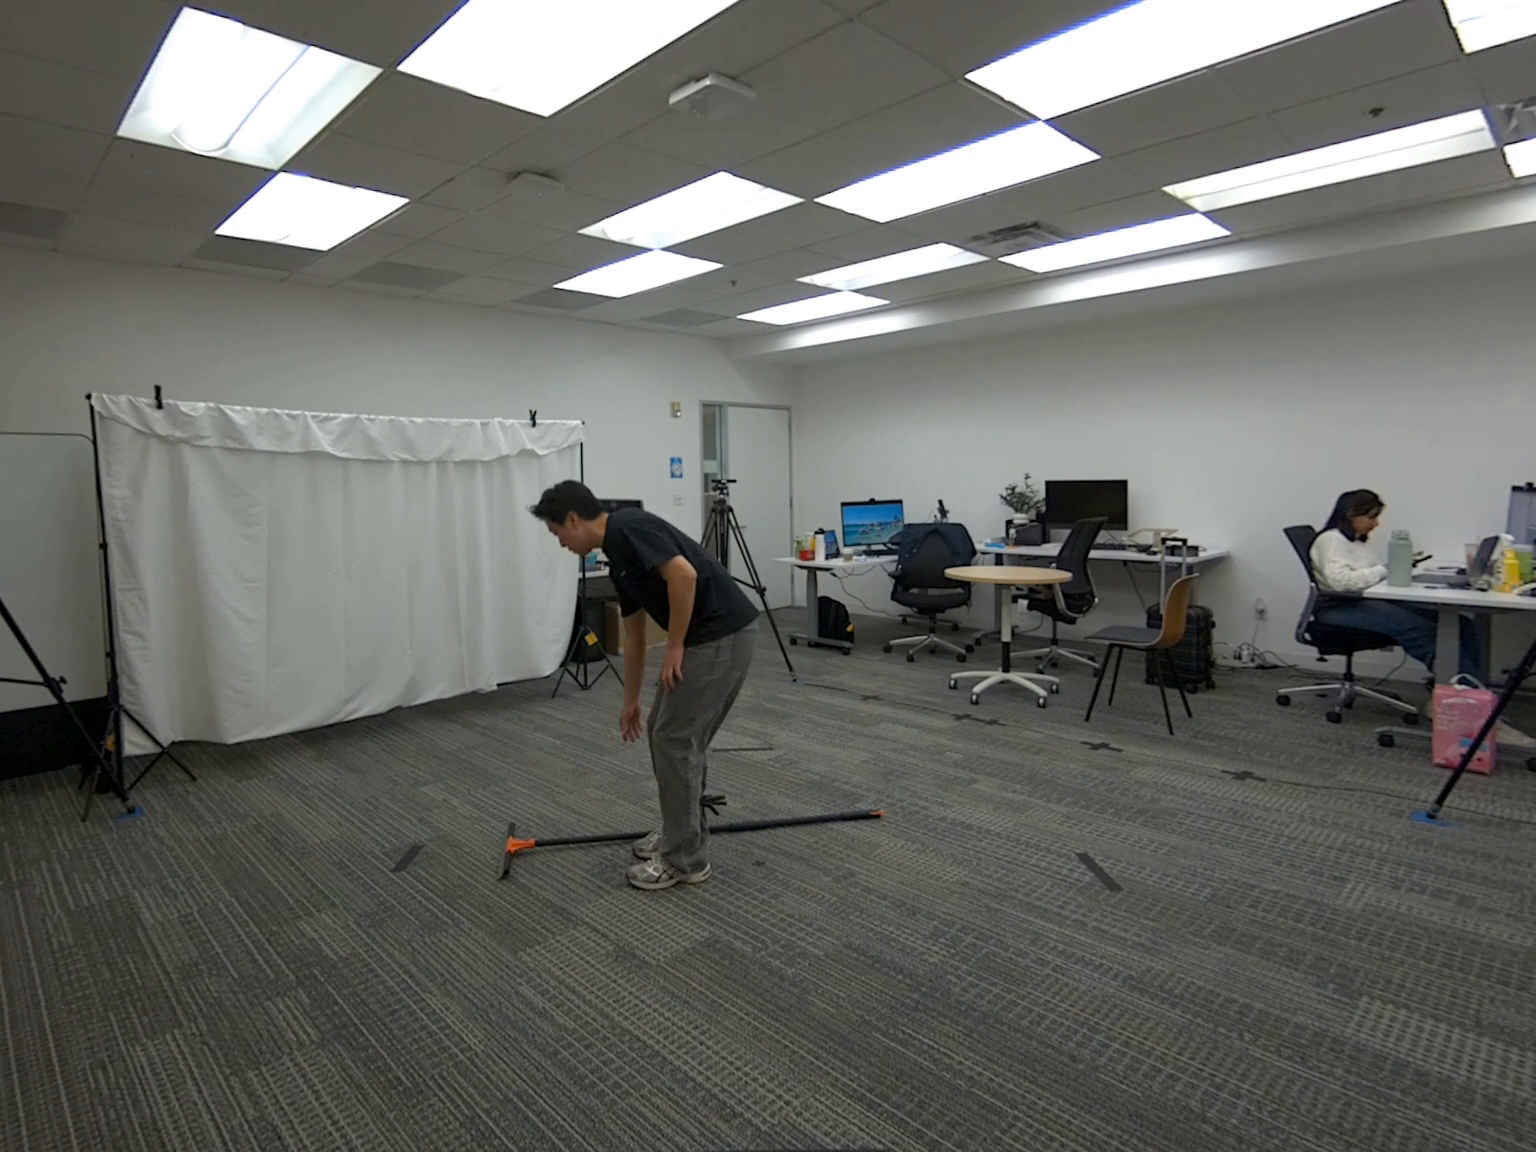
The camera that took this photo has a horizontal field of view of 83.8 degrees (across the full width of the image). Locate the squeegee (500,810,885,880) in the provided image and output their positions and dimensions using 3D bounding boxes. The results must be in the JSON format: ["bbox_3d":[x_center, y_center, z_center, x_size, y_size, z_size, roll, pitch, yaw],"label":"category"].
[{"bbox_3d":[-0.256,0.975,3.373,1.520,0.052,0.445,-3,8,-12],"label":"squeegee"}]
